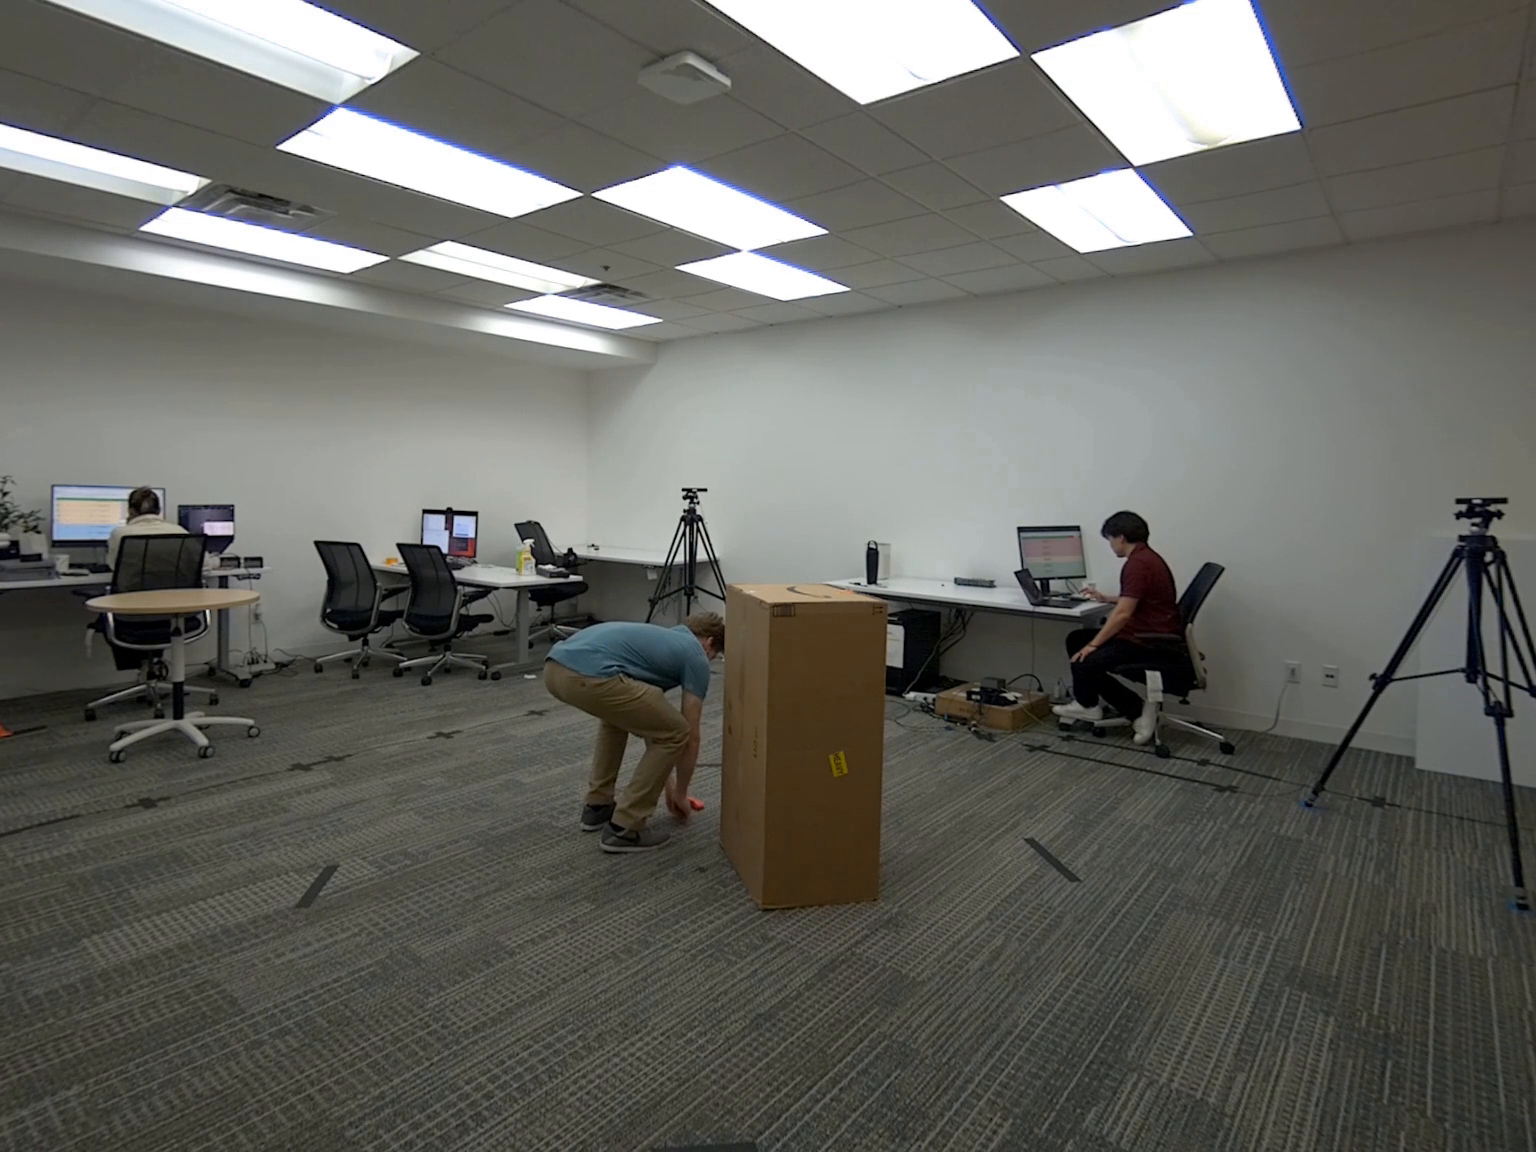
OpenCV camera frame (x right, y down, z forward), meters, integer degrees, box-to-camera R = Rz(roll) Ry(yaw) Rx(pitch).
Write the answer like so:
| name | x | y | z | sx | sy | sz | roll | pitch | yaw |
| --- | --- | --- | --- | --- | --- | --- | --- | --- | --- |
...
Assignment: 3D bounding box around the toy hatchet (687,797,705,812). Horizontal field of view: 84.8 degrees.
| name | x | y | z | sx | sy | sz | roll | pitch | yaw |
| --- | --- | --- | --- | --- | --- | --- | --- | --- | --- |
| toy hatchet | -0.336 | 0.991 | 3.633 | 0.130 | 0.029 | 0.272 | 13 | 3 | -6 |
